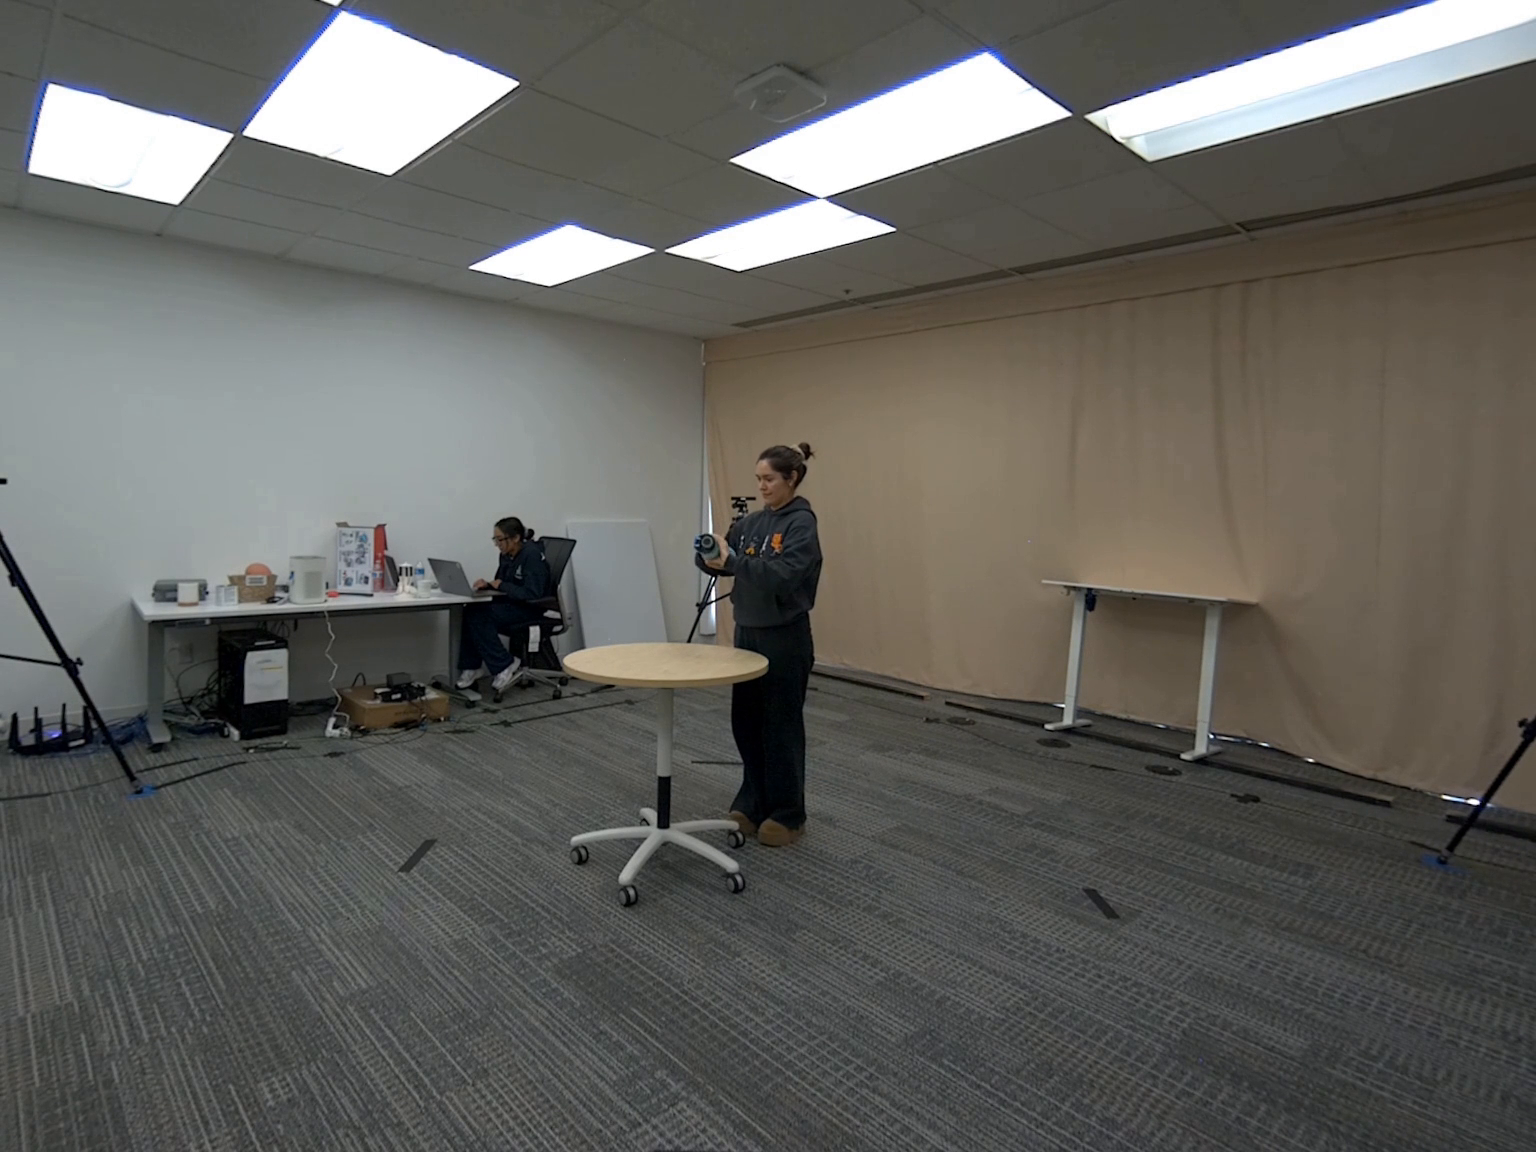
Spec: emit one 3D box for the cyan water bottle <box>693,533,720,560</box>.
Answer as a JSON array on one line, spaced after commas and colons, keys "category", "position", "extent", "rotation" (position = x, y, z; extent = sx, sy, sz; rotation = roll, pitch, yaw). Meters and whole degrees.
[{"category": "cyan water bottle", "position": [-0.220, -0.104, 3.327], "extent": [0.094, 0.093, 0.277], "rotation": [3, -10, 17]}]
